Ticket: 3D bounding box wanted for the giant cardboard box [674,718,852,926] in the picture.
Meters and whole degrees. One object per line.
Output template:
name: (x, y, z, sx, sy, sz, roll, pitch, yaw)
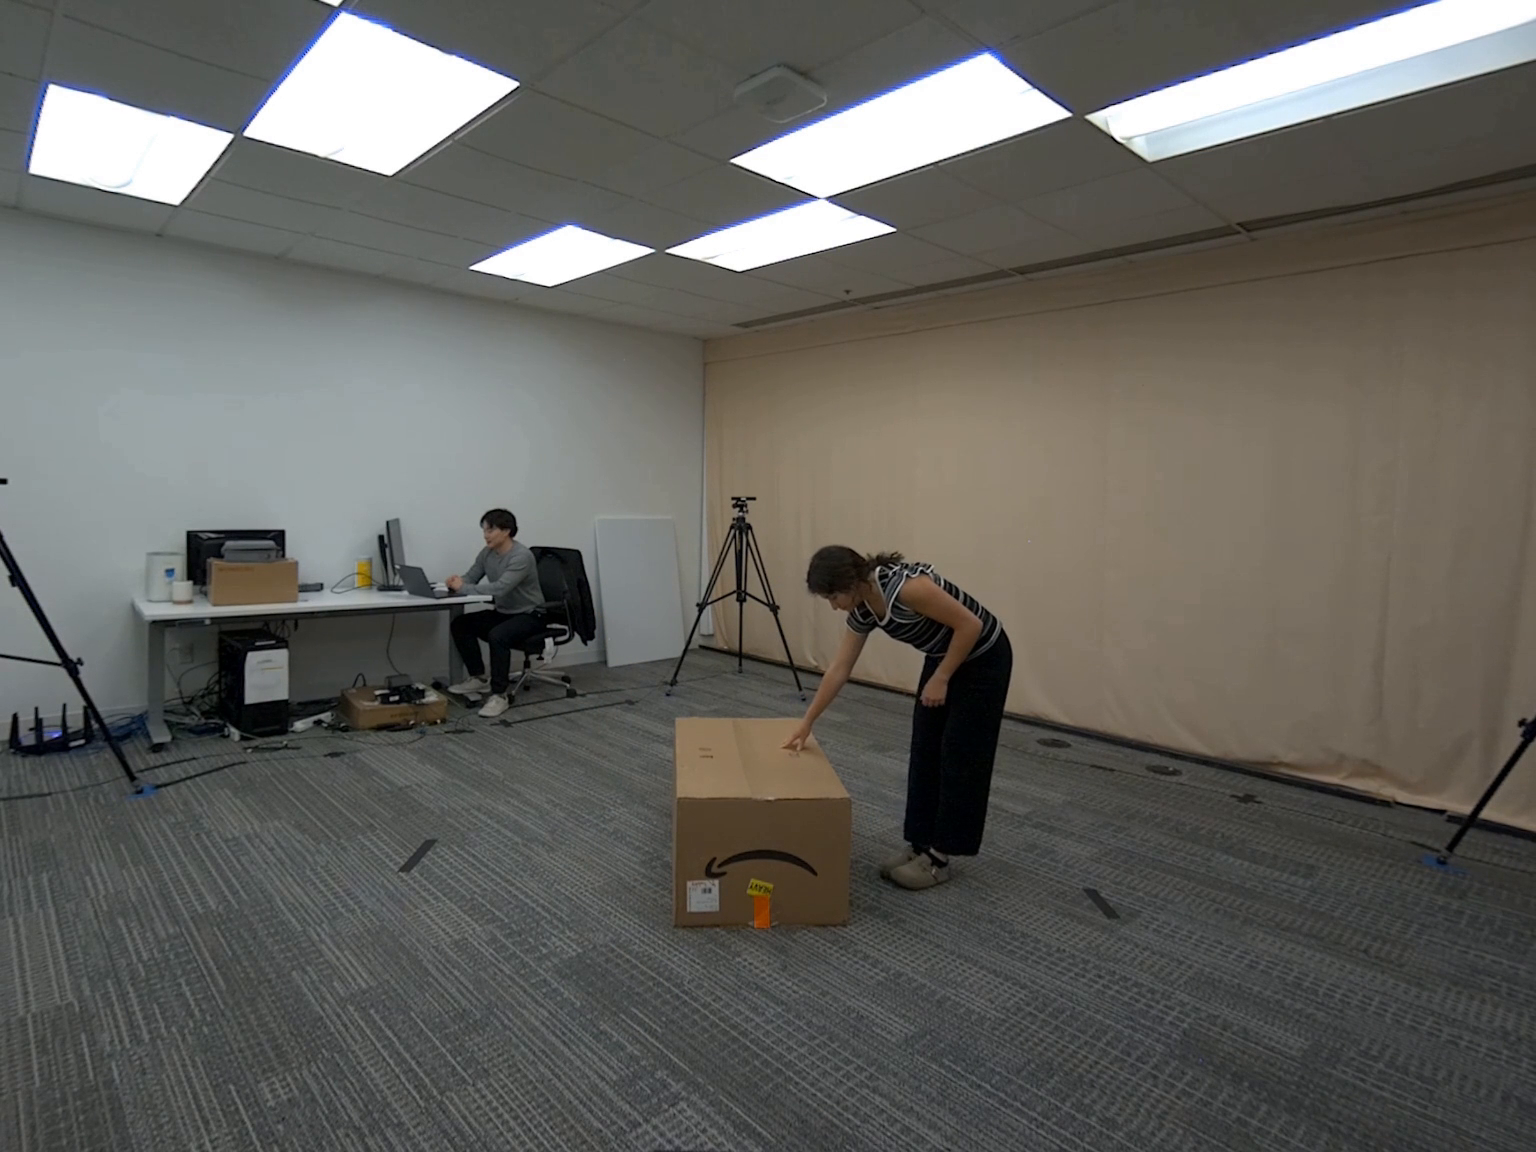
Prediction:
giant cardboard box: (-0.080, 0.887, 3.232, 0.575, 0.425, 1.033, 1, 5, -6)
